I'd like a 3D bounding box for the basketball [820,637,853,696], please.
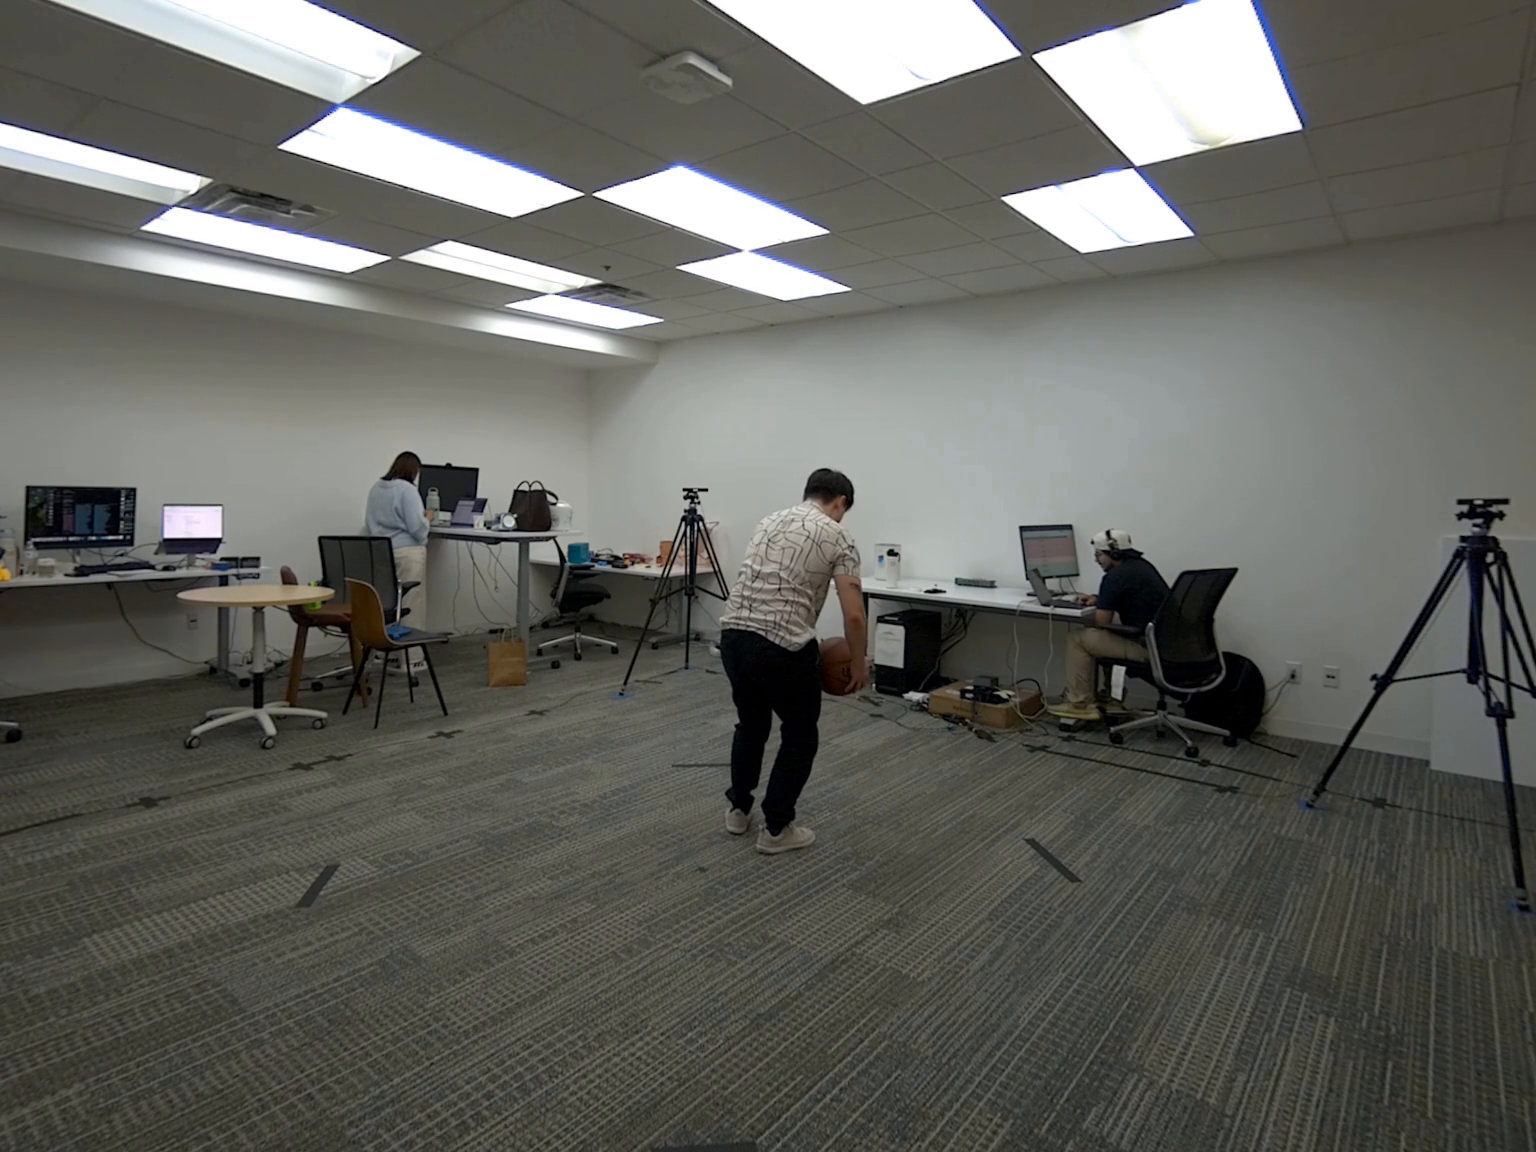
[{"bbox_3d":[0.280,0.363,3.463,0.235,0.235,0.237,1,4,-2],"label":"basketball"}]
